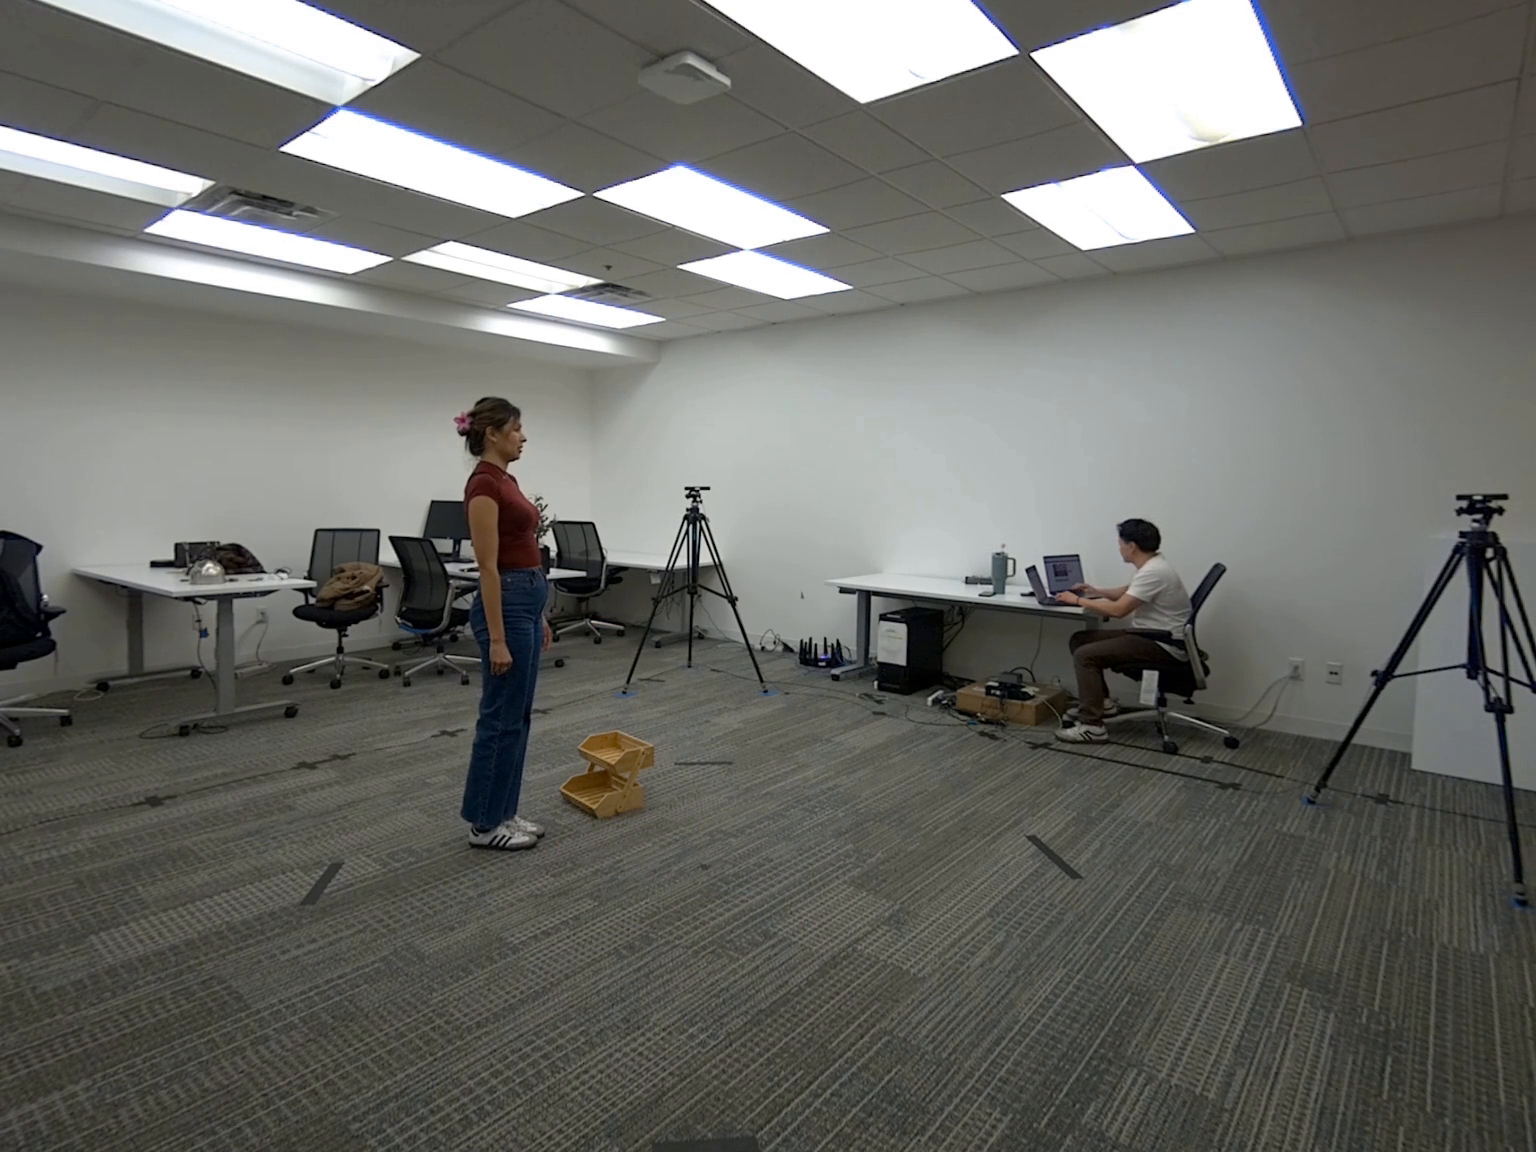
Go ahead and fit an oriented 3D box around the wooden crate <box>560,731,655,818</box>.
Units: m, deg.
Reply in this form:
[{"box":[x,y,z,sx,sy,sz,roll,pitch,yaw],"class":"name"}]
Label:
[{"box":[-0.727,0.861,3.752,0.293,0.272,0.336,-3,6,-42],"class":"wooden crate"}]
